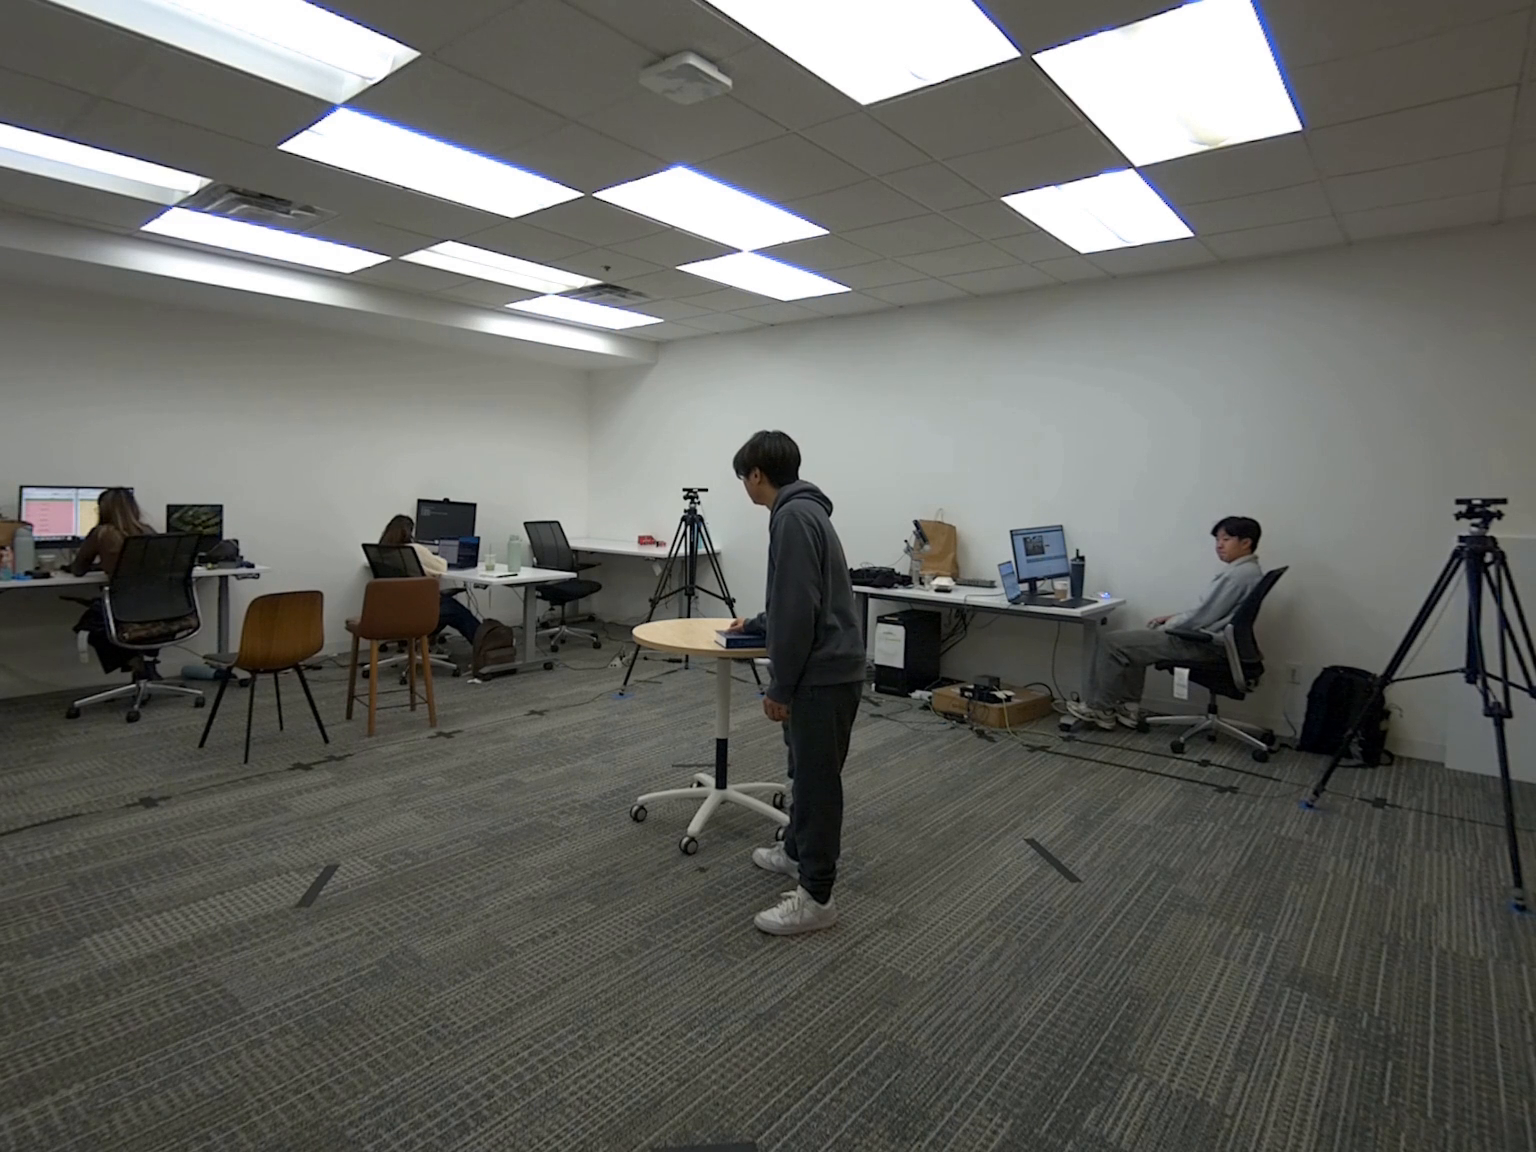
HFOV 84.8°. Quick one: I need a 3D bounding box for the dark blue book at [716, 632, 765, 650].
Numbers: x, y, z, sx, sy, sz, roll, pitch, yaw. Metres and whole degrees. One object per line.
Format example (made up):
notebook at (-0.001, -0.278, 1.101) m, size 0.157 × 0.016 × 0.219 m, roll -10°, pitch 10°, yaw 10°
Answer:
dark blue book at (-0.072, 0.241, 3.285) m, size 0.241 × 0.045 × 0.167 m, roll 0°, pitch 6°, yaw -17°
